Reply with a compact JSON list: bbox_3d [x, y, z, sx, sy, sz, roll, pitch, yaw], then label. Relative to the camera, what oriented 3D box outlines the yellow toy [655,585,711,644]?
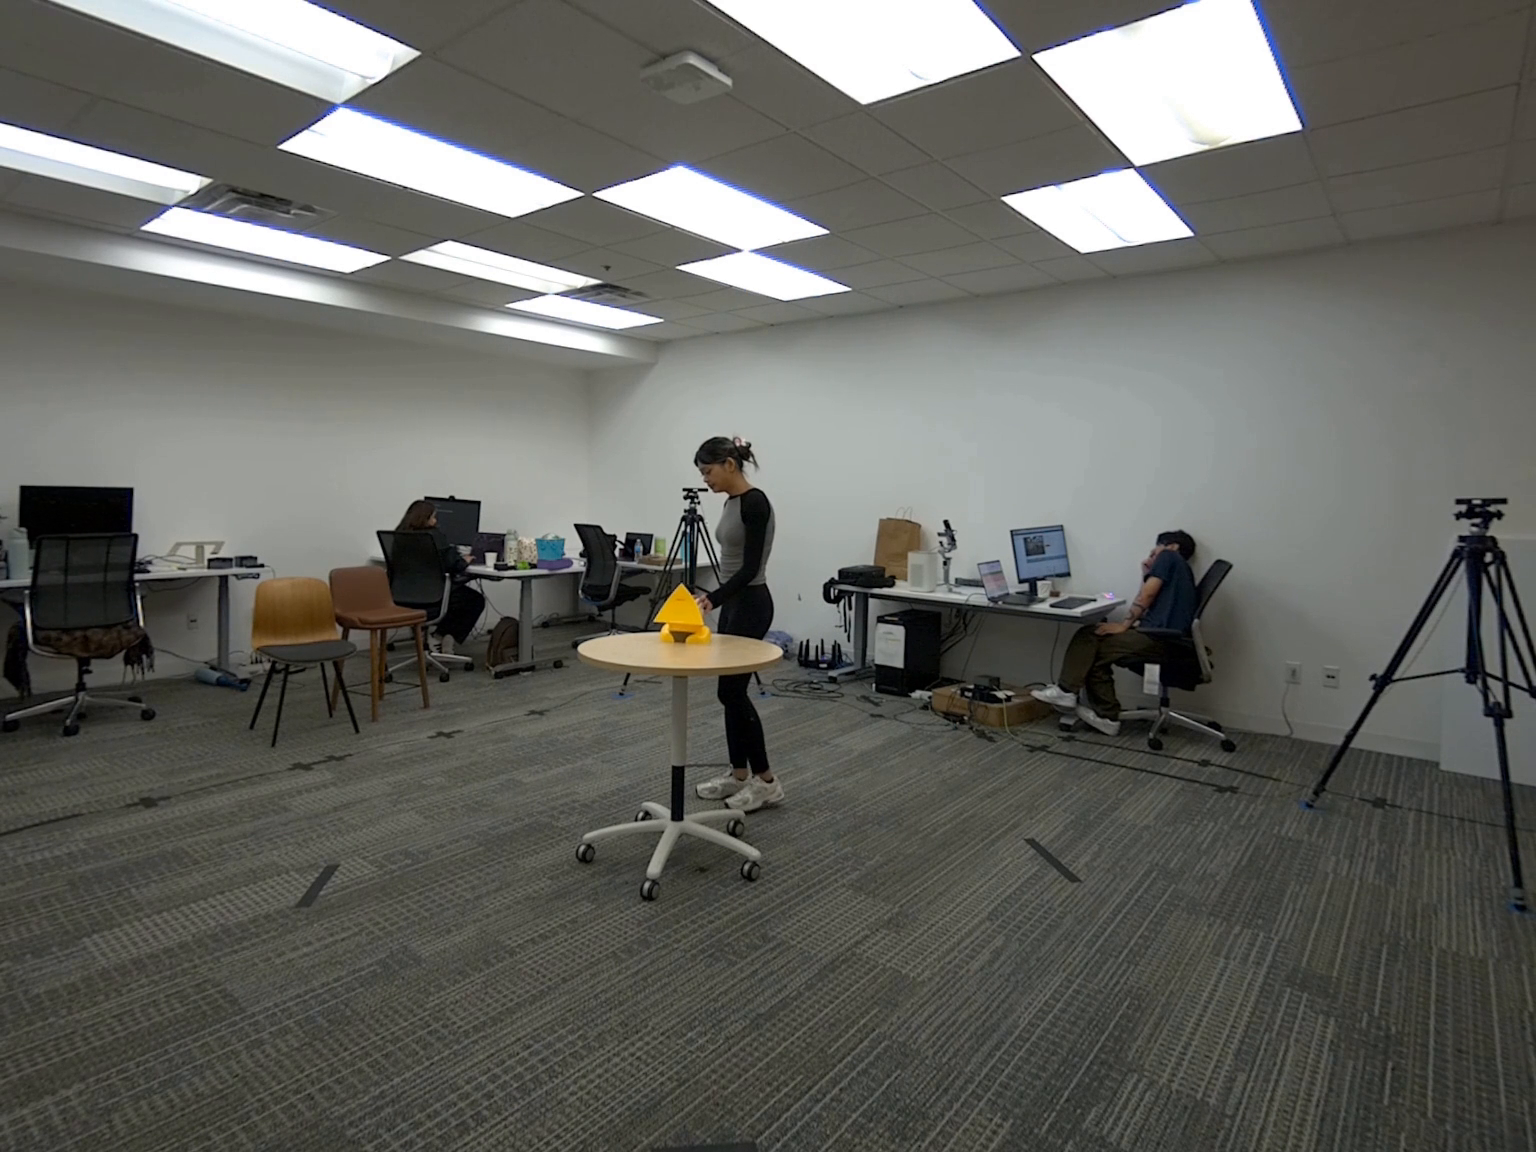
[{"bbox_3d":[-0.338,0.137,3.373,0.208,0.230,0.190,3,4,15],"label":"yellow toy"}]
